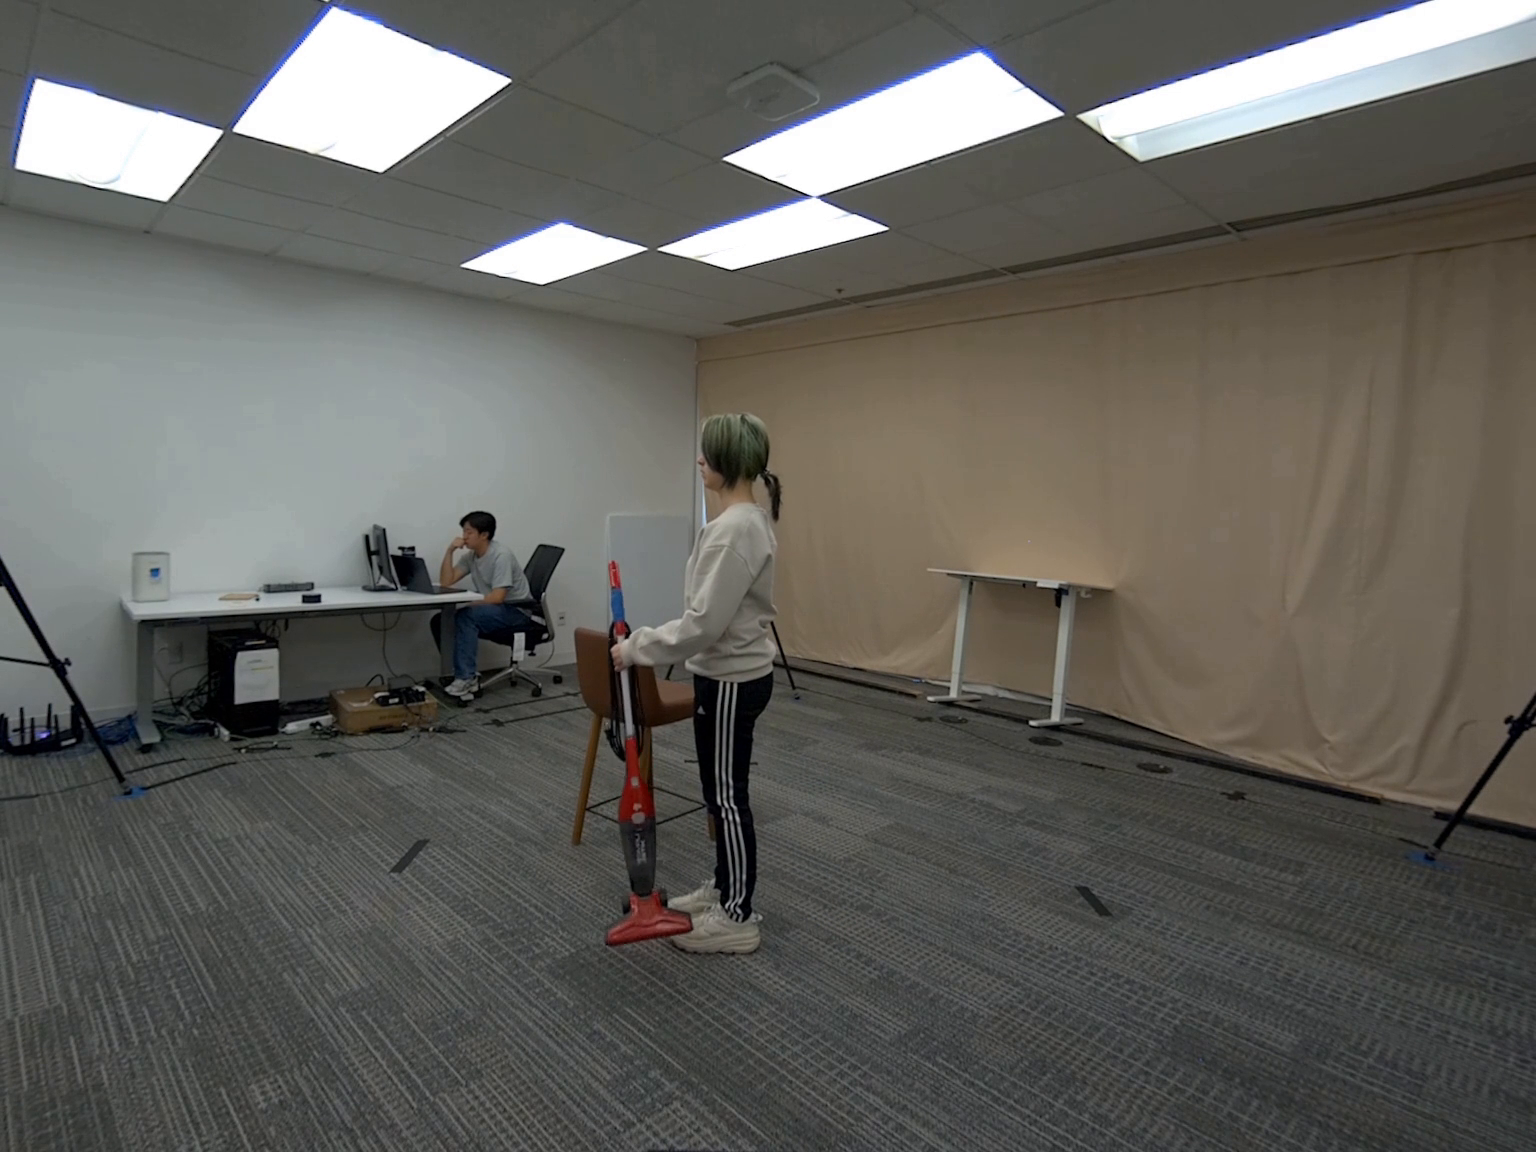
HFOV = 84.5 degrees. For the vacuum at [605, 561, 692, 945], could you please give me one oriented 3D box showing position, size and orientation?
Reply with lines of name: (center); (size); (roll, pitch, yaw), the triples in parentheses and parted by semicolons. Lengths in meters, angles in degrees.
vacuum: (-0.433, 0.480, 2.531); (0.250, 1.059, 0.144); (-6, -11, -16)
